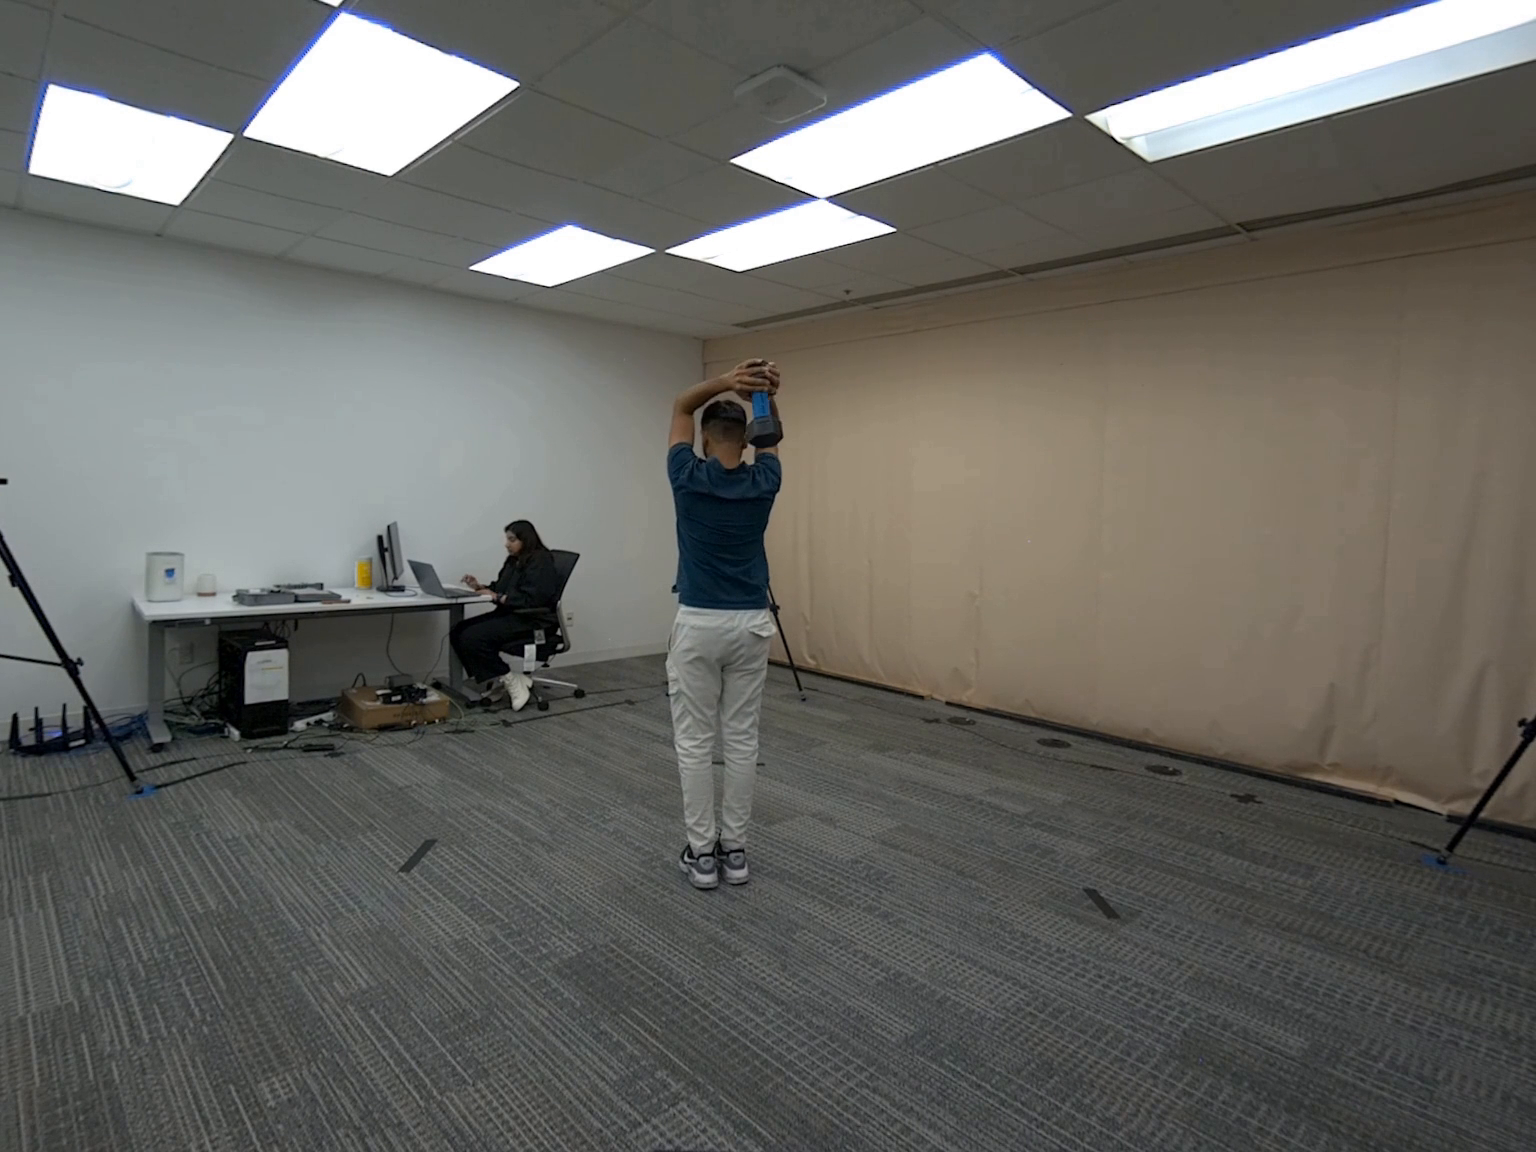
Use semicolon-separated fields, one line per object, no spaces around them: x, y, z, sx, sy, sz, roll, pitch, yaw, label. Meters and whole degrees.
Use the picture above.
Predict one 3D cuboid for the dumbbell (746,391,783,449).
-0.044;-0.586;2.897;0.110;0.298;0.119;-20;-23;29;dumbbell
